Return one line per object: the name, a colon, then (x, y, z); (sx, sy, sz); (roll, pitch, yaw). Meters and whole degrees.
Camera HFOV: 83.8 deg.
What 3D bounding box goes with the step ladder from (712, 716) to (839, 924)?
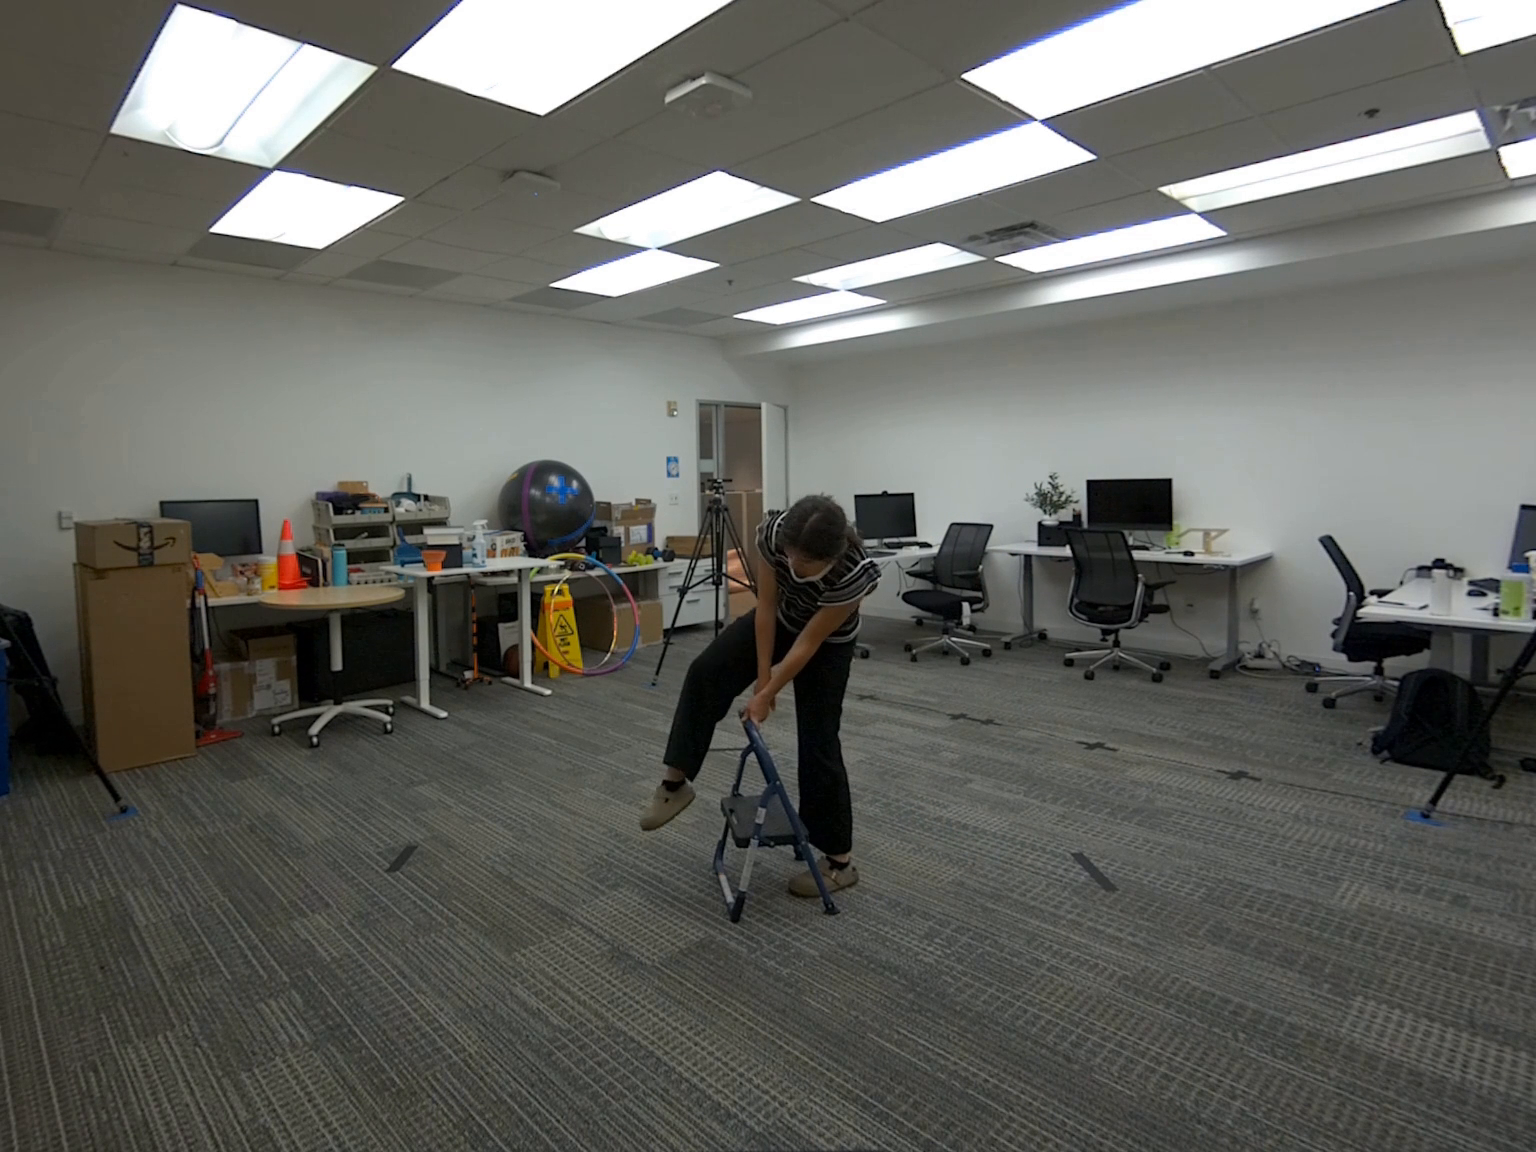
step ladder: (0.009, 0.767, 2.897); (0.346, 0.604, 0.437); (-2, 5, -11)
